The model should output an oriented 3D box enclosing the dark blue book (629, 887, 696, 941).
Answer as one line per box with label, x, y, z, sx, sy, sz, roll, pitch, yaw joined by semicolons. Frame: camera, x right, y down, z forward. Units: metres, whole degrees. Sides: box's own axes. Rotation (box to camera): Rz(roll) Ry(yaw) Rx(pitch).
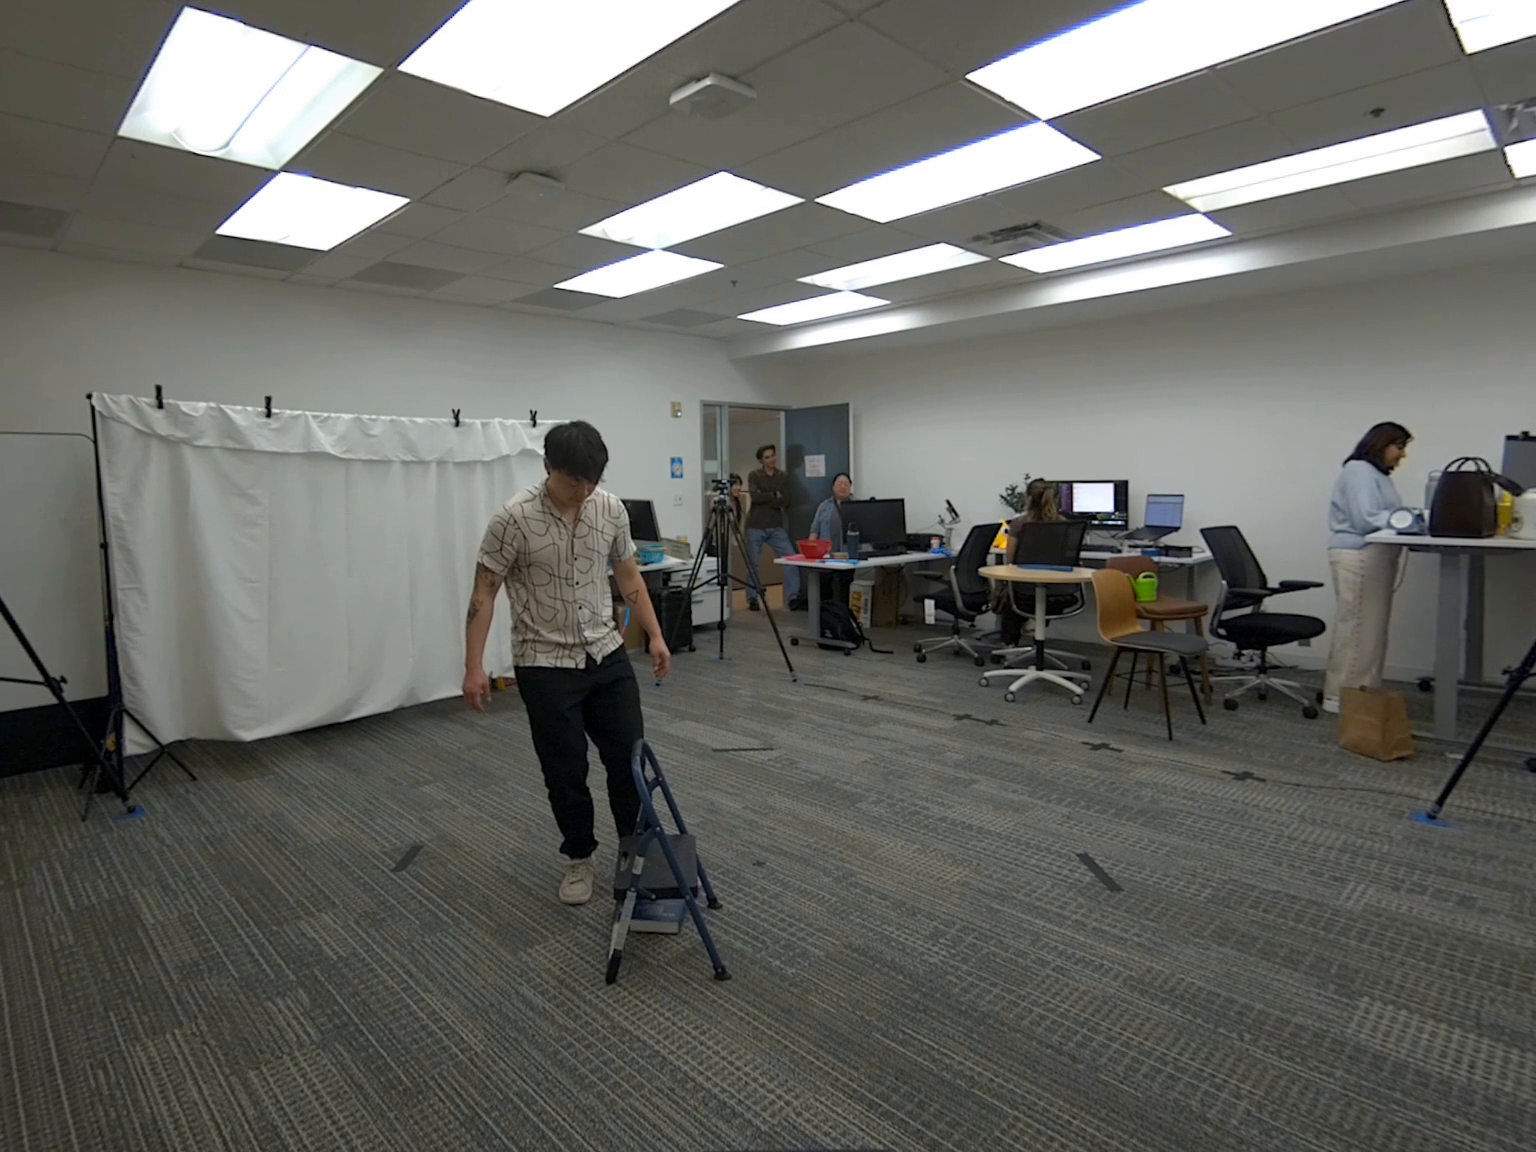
dark blue book;-0.337;1.083;2.759;0.164;0.045;0.244;-1;5;6
